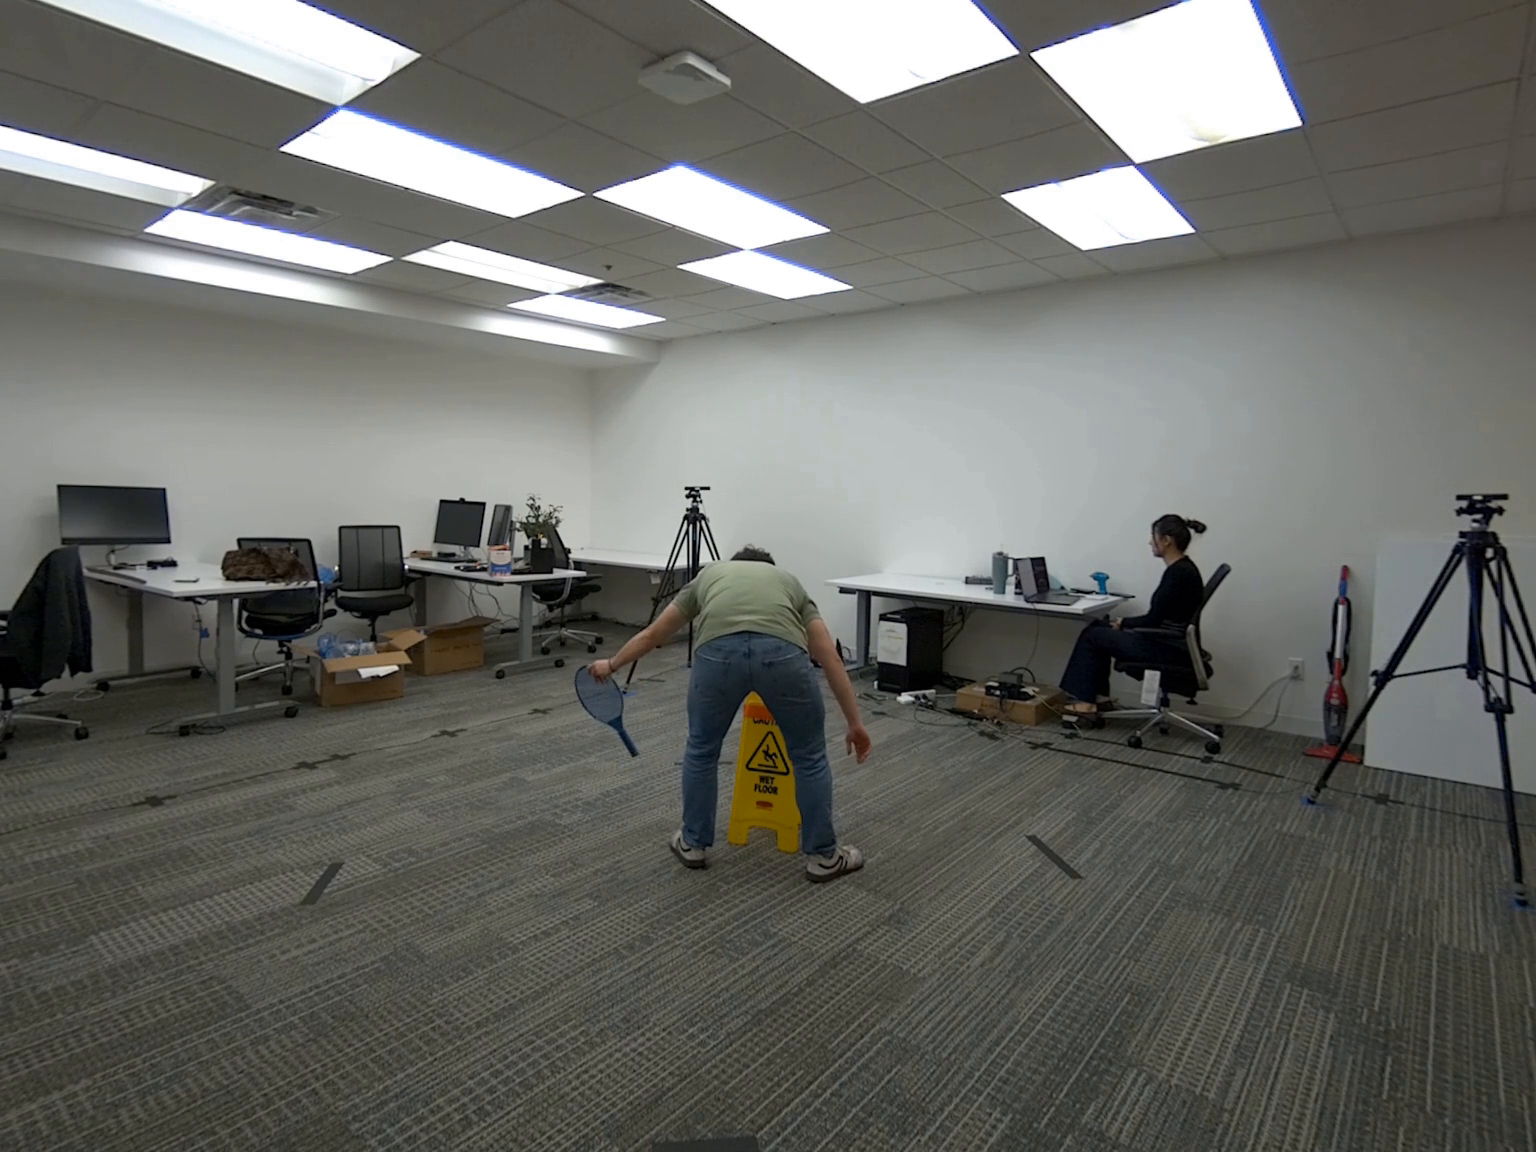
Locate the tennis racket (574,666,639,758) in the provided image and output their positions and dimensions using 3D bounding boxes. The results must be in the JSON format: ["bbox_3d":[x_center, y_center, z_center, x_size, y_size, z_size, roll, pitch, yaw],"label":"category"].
[{"bbox_3d":[-0.664,0.562,3.527,0.216,0.434,0.031,-29,-2,26],"label":"tennis racket"}]
